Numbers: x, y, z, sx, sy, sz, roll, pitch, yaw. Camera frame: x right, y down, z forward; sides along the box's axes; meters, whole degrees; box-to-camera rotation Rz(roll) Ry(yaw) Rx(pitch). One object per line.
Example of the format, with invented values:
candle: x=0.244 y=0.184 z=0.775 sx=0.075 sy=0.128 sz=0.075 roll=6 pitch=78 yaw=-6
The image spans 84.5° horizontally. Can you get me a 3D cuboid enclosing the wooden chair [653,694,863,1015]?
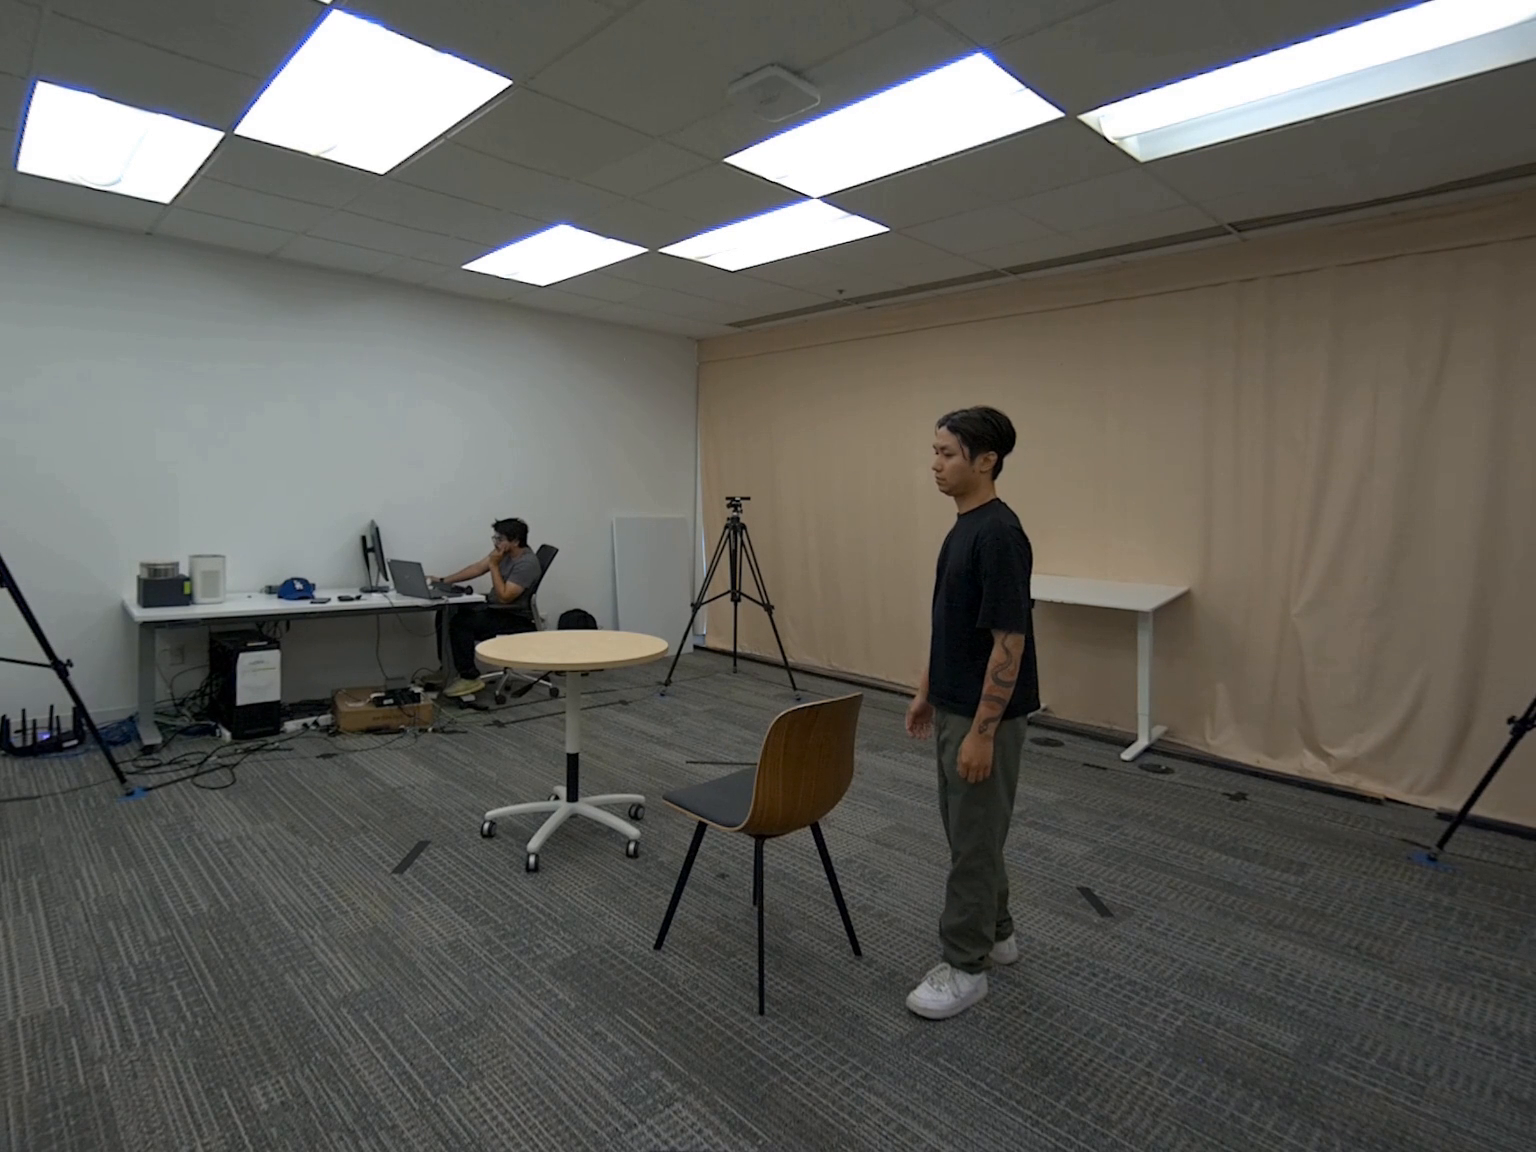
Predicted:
wooden chair: x=-0.031 y=0.730 z=2.556 sx=0.537 sy=0.873 sz=0.467 roll=11 pitch=10 yaw=43
